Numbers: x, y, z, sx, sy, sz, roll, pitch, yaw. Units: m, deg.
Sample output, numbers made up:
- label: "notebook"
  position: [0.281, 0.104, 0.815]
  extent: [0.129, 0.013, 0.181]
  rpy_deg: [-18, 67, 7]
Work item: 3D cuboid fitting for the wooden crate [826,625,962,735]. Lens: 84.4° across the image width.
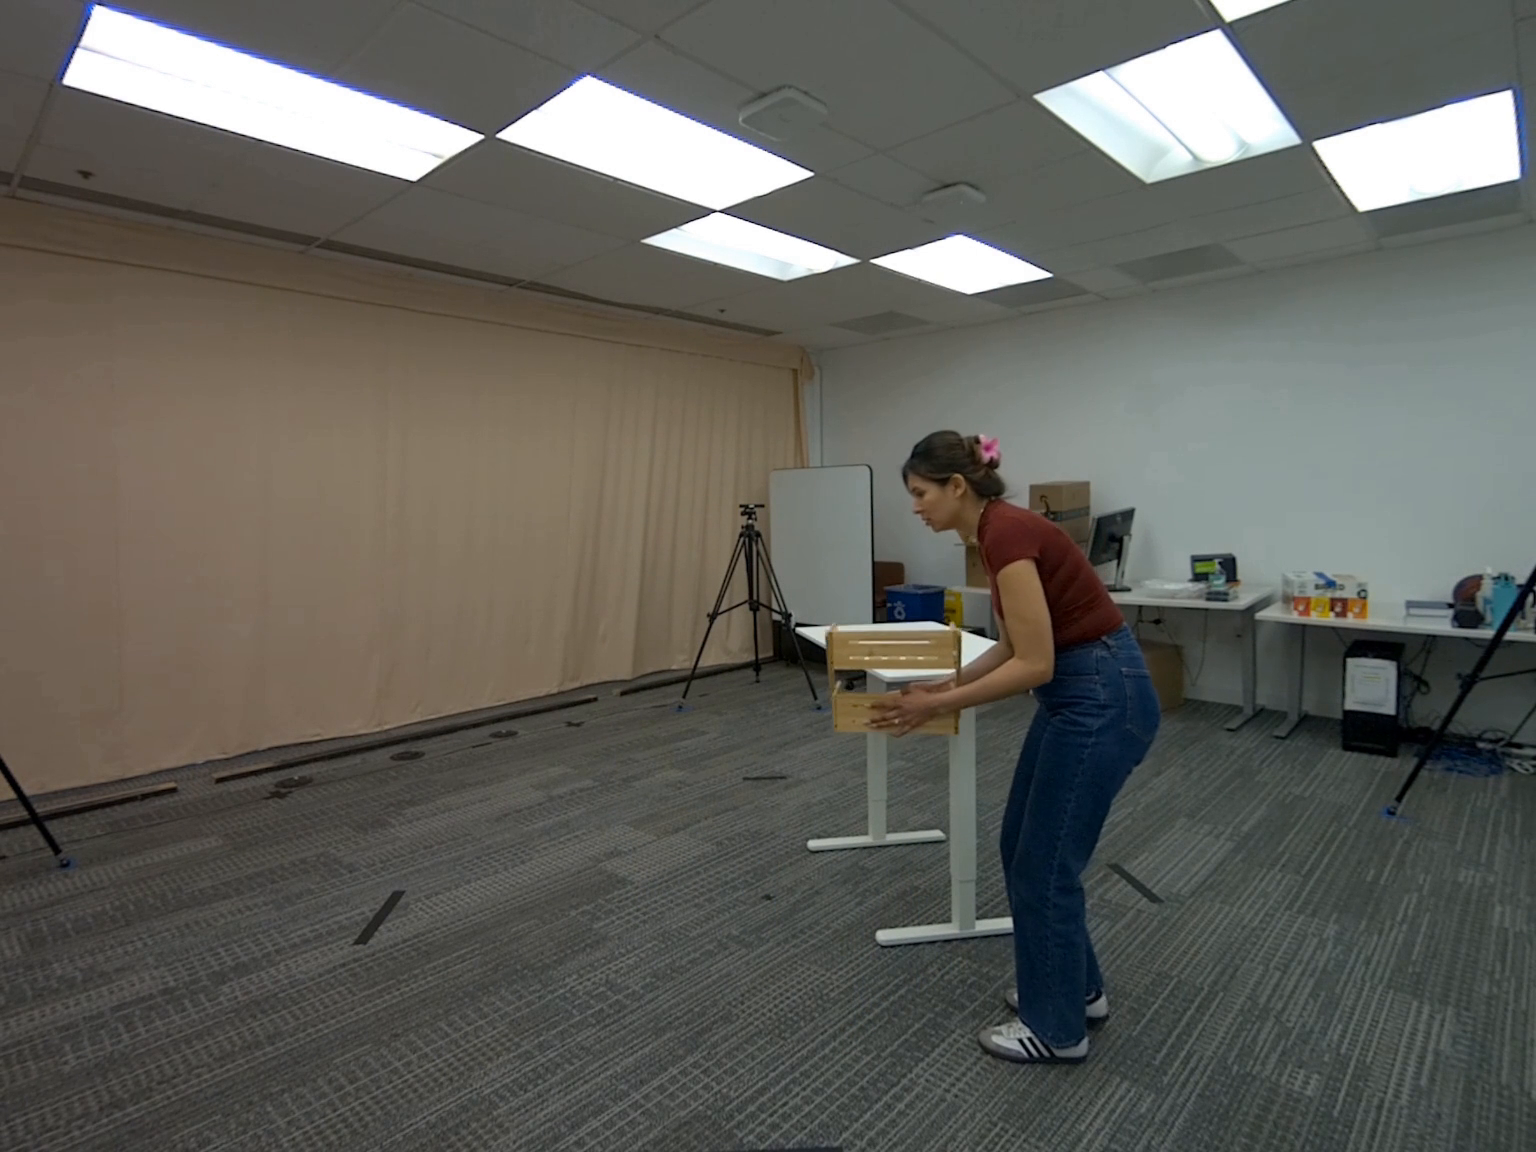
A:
- label: "wooden crate"
  position: [0.327, 0.247, 2.159]
  extent: [0.329, 0.273, 0.298]
  rpy_deg: [-1, 2, 11]
